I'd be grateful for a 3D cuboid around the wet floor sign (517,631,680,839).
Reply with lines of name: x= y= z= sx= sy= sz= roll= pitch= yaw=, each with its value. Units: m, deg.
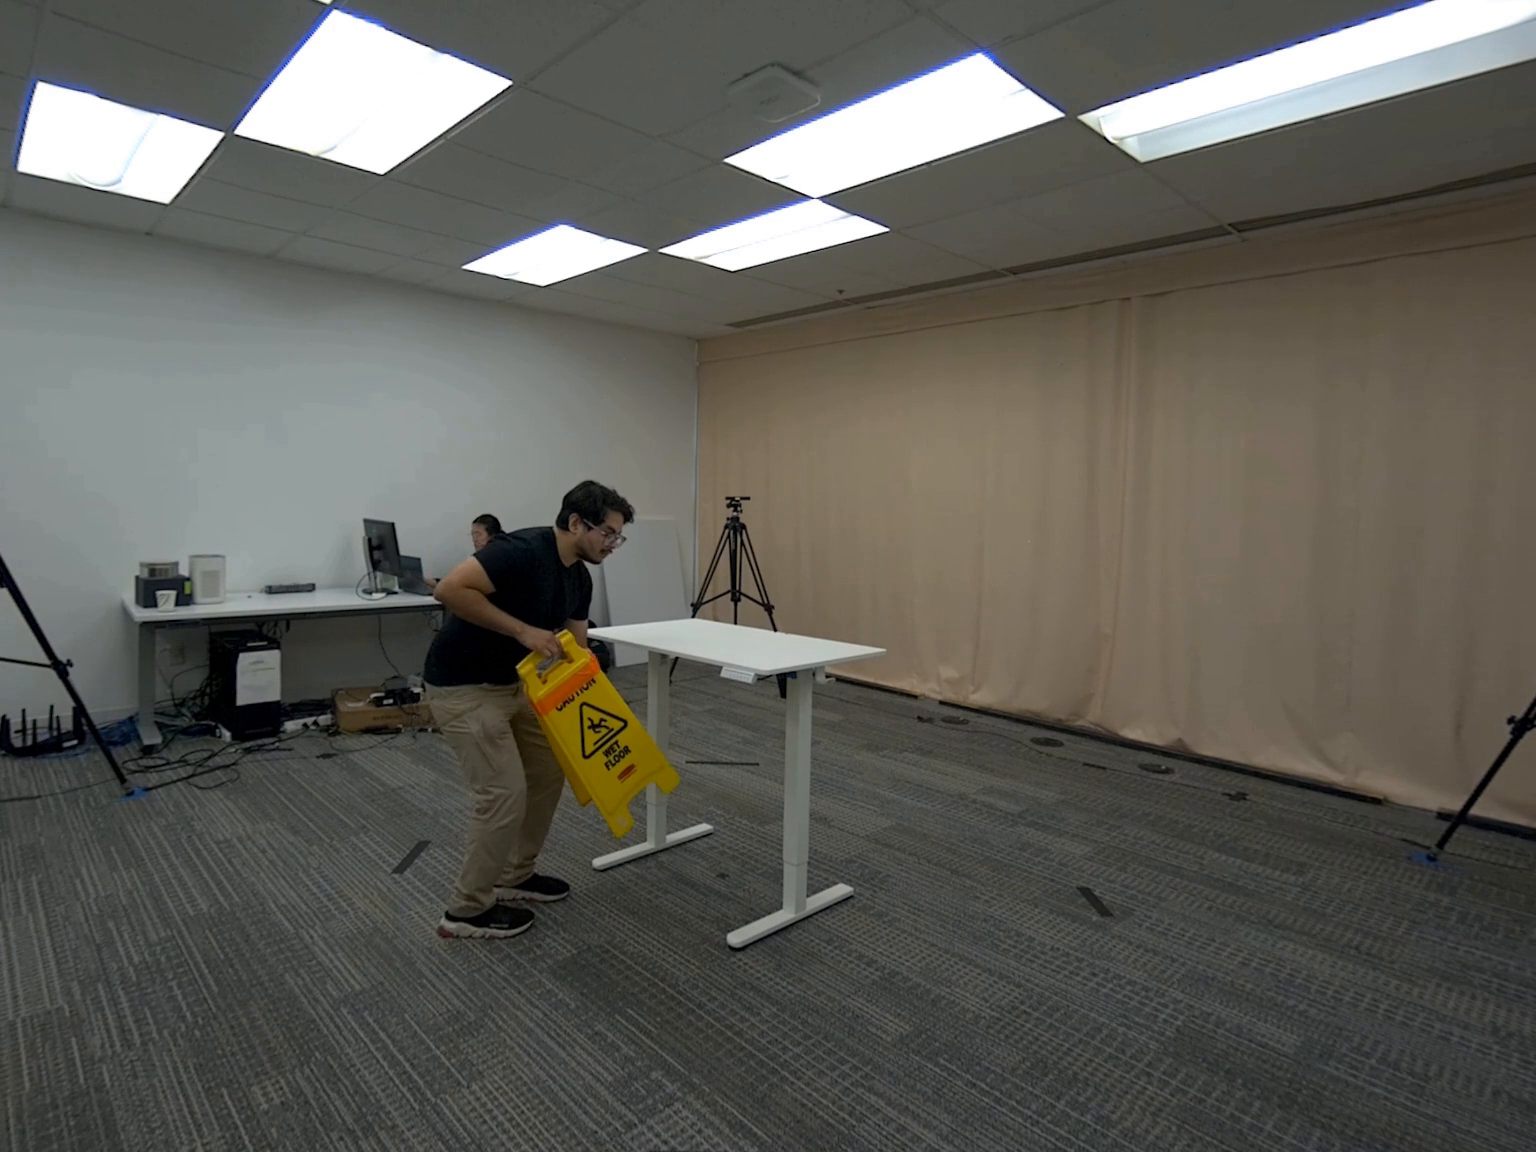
wet floor sign: x=-0.587 y=0.479 z=2.707 sx=0.281 sy=0.631 sz=0.298 roll=-38 pitch=32 yaw=-28
